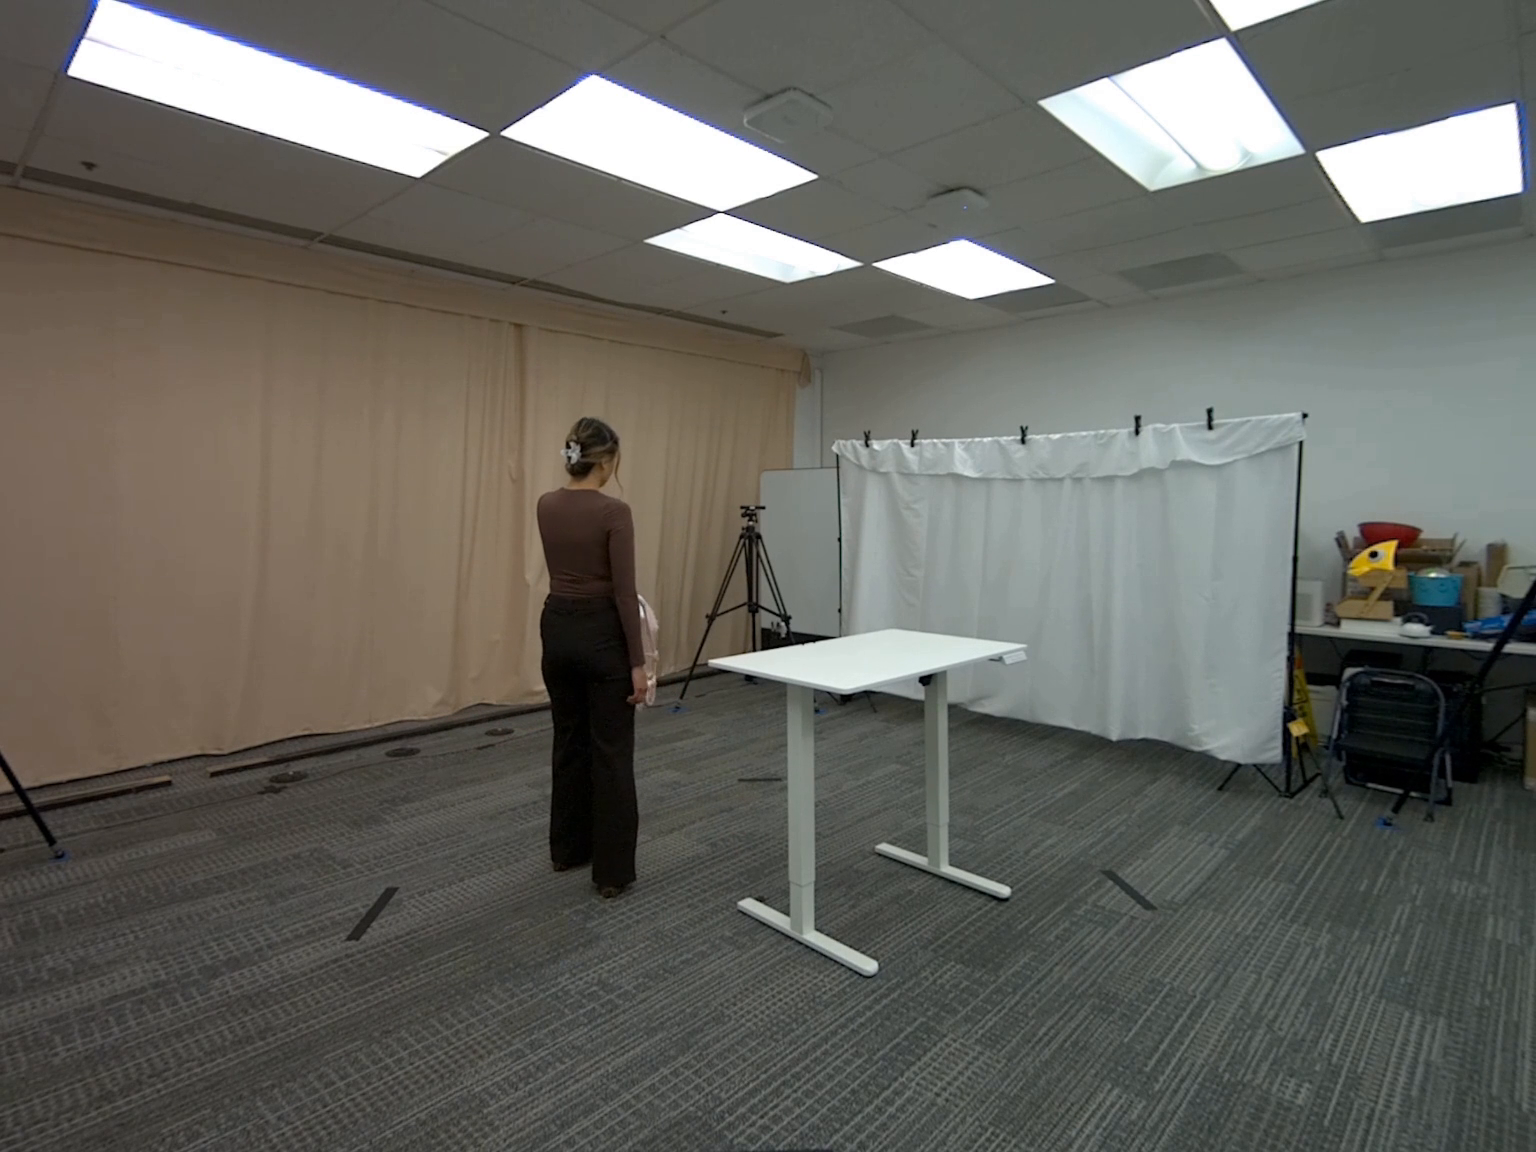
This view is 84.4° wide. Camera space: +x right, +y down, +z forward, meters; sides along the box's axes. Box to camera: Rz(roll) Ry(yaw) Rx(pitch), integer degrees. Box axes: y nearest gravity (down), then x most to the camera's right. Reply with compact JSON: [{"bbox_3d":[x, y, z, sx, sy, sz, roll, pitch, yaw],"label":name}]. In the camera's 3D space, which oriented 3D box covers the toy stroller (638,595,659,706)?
[{"bbox_3d":[-0.608,0.344,3.735,0.286,0.536,0.335,1,-4,15],"label":"toy stroller"}]
